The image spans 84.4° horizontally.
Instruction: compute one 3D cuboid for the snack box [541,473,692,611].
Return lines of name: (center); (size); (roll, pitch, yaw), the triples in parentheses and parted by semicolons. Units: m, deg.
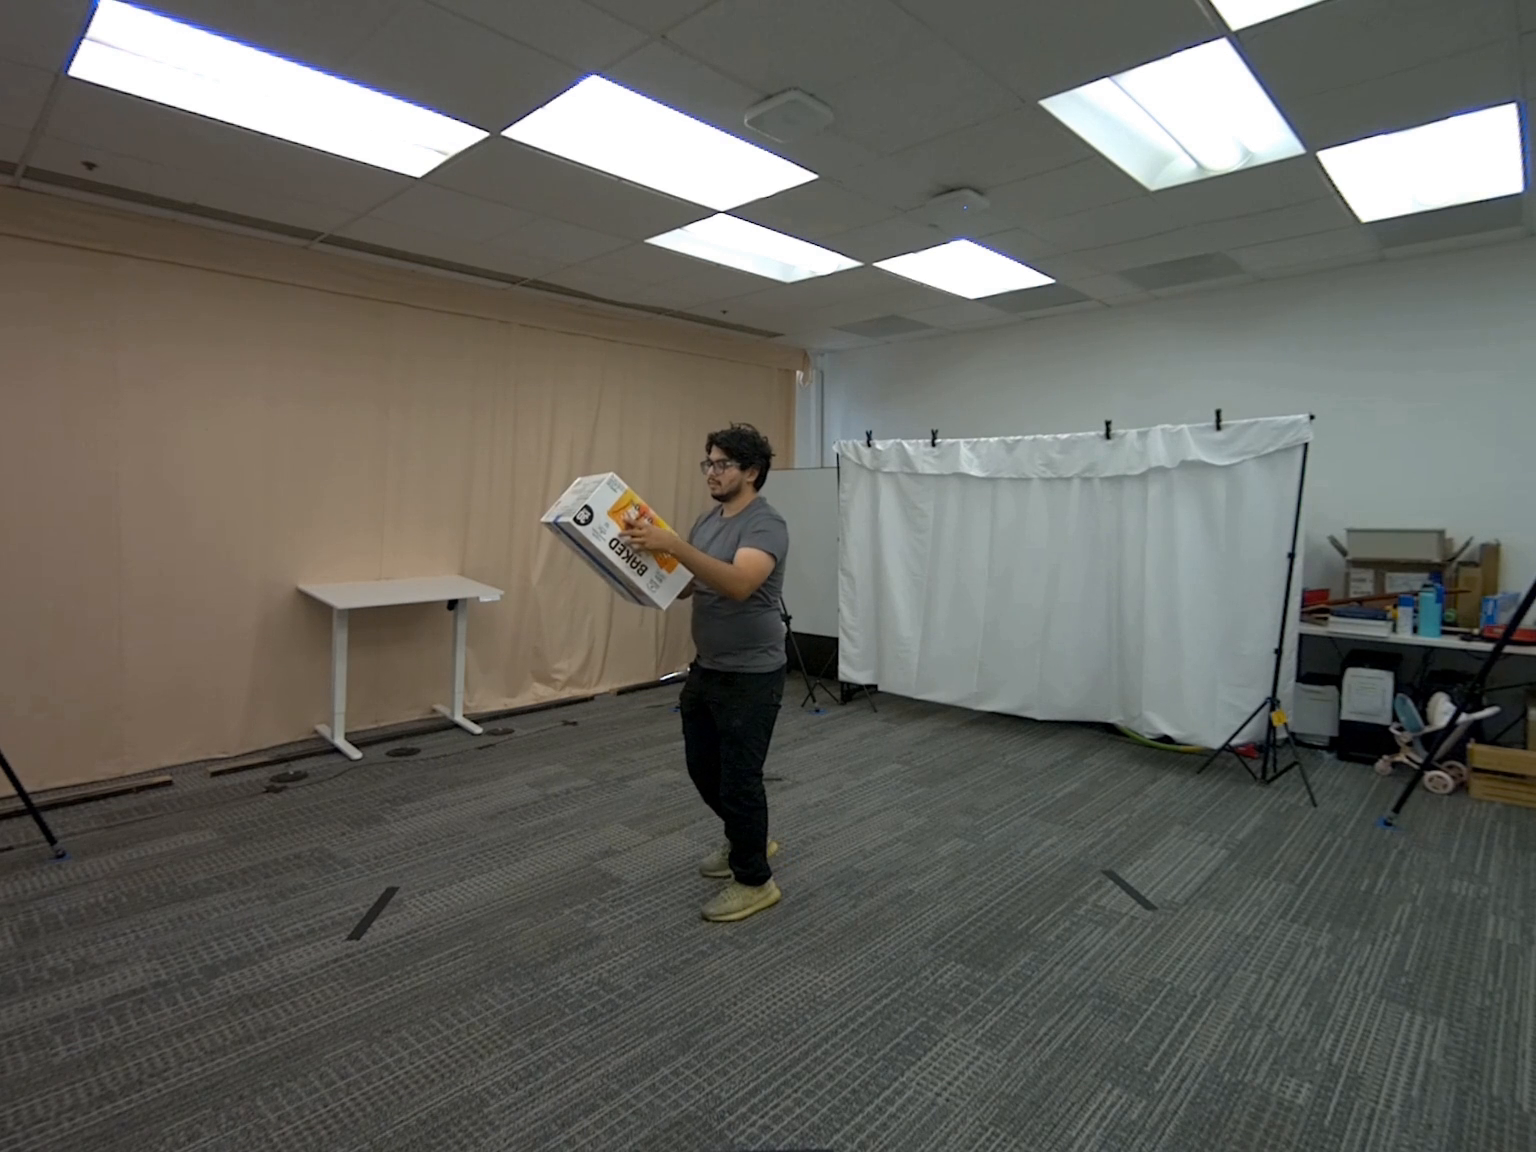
snack box: (-0.465, -0.108, 2.671); (0.396, 0.205, 0.349); (46, -18, -21)
